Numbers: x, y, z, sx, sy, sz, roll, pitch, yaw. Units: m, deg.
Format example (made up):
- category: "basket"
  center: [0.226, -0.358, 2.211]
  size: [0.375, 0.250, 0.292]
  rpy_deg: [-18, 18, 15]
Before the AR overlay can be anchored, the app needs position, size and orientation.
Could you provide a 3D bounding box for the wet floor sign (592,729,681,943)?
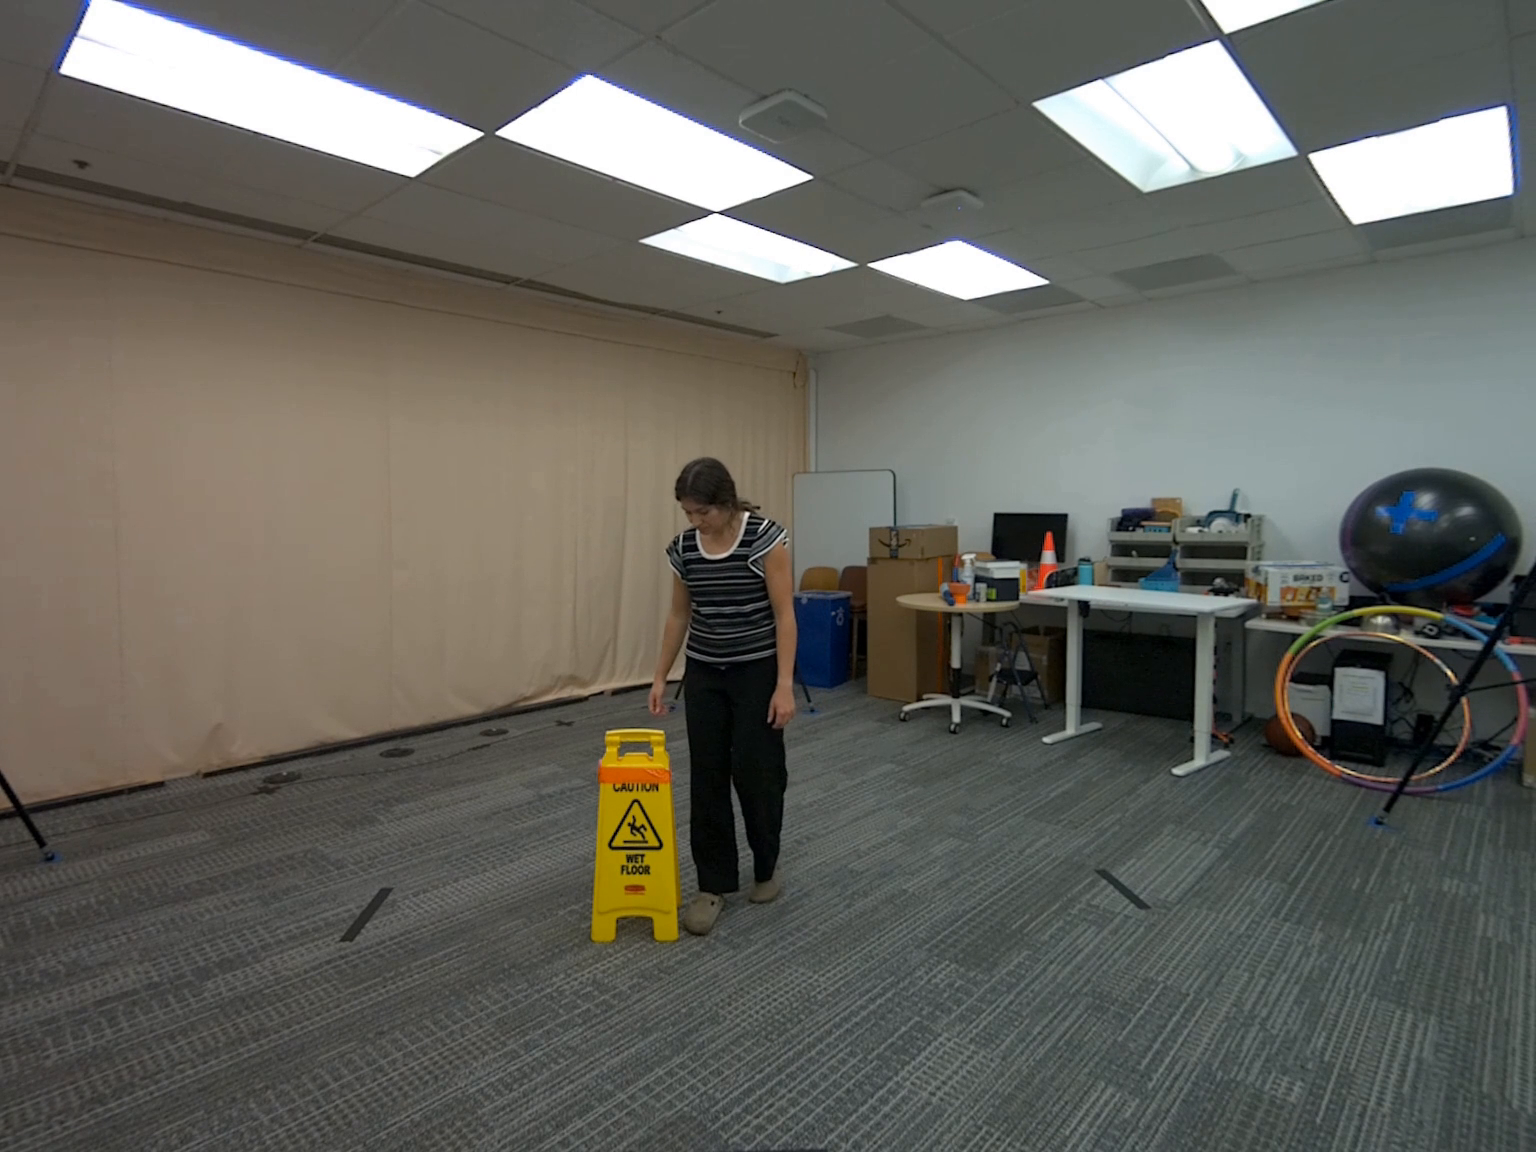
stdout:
- category: "wet floor sign"
  center: [-0.434, 0.841, 2.808]
  size: [0.282, 0.645, 0.290]
  rpy_deg: [0, 1, -1]
